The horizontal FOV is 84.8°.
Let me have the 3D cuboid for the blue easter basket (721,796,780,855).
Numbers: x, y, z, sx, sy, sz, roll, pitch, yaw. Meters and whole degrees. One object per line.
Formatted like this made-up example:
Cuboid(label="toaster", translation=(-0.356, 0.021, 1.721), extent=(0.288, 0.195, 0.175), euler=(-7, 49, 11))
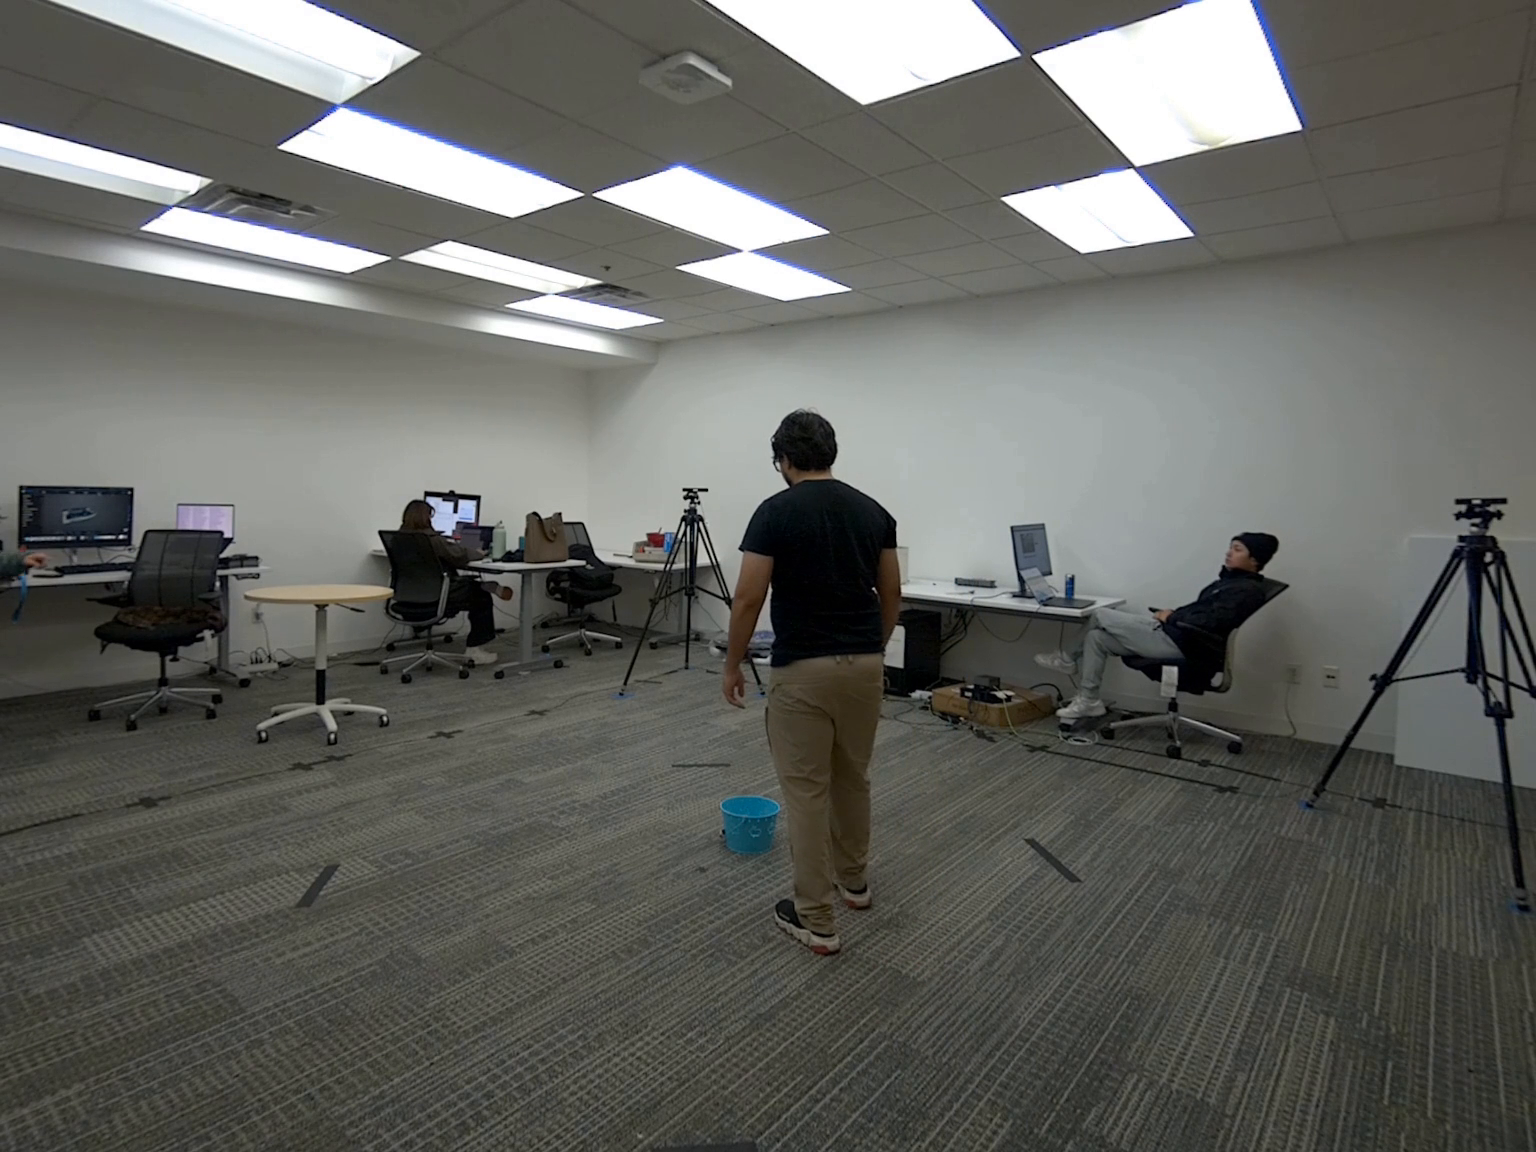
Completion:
Cuboid(label="blue easter basket", translation=(-0.084, 0.971, 3.333), extent=(0.243, 0.155, 0.245), euler=(1, 5, -2))
